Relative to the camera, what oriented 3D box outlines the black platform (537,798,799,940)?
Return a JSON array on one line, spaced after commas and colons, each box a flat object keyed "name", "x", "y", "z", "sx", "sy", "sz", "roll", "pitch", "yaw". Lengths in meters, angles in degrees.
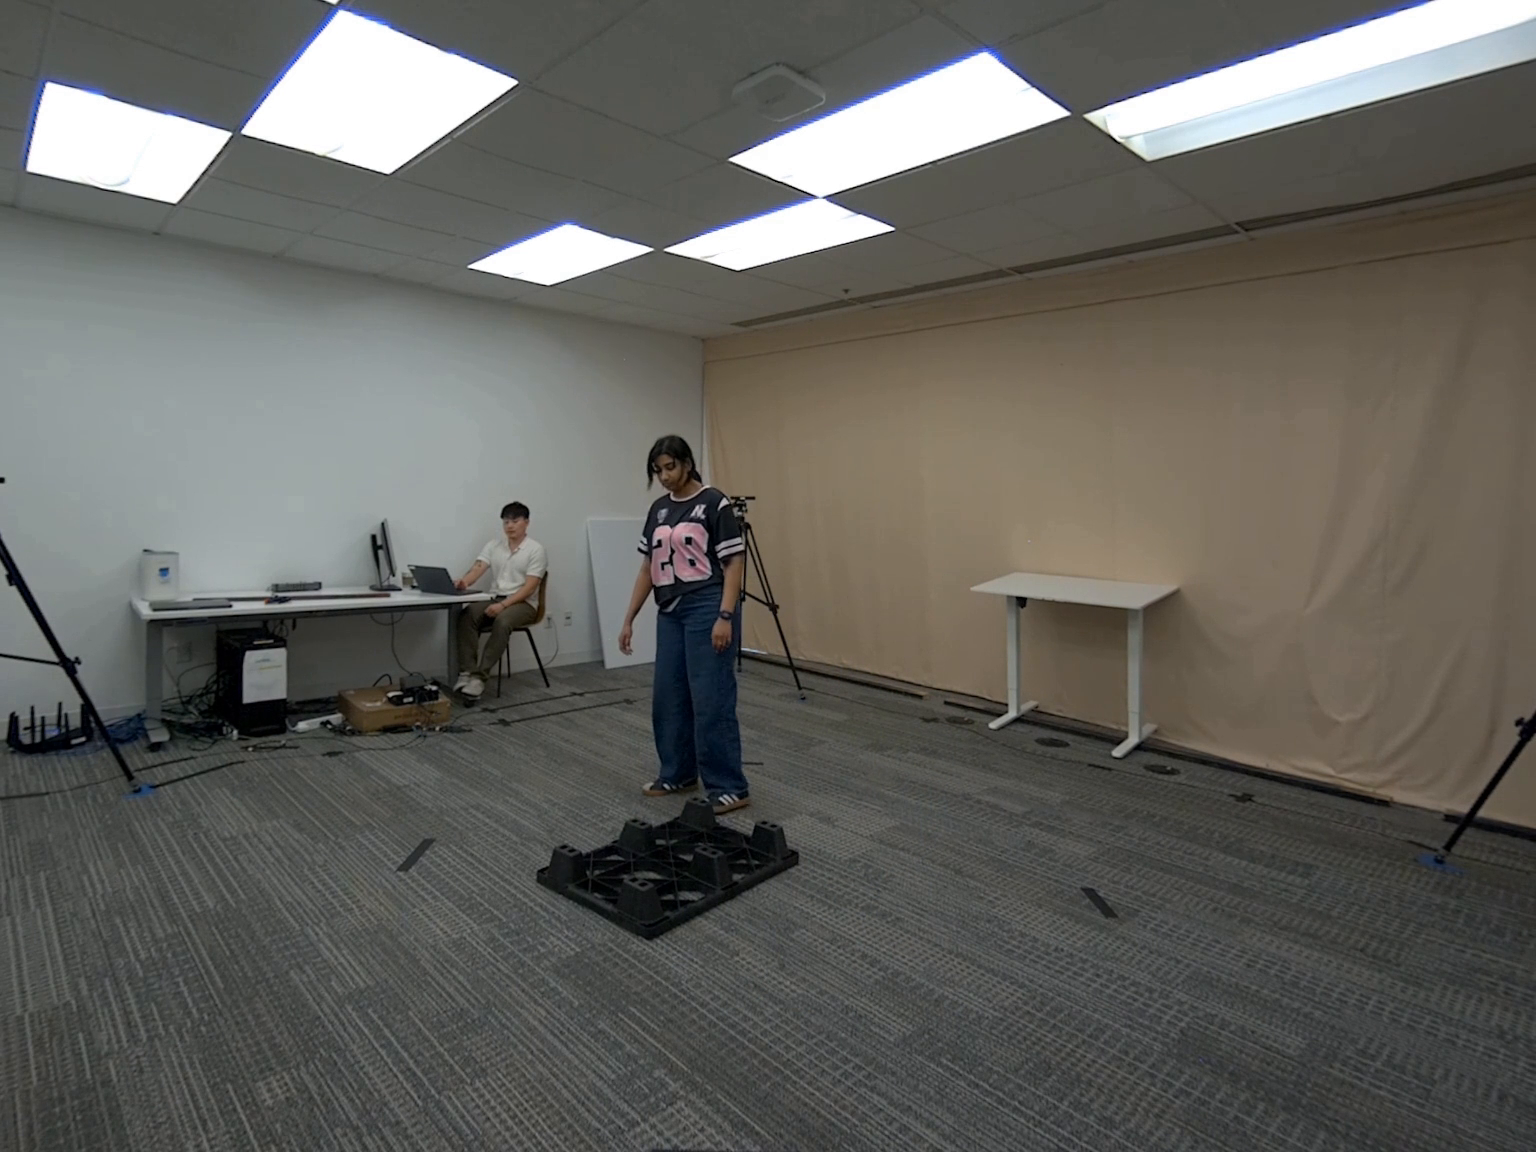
[{"name": "black platform", "x": -0.366, "y": 1.035, "z": 3.123, "sx": 0.620, "sy": 0.143, "sz": 0.788, "roll": 6, "pitch": 7, "yaw": 39}]
